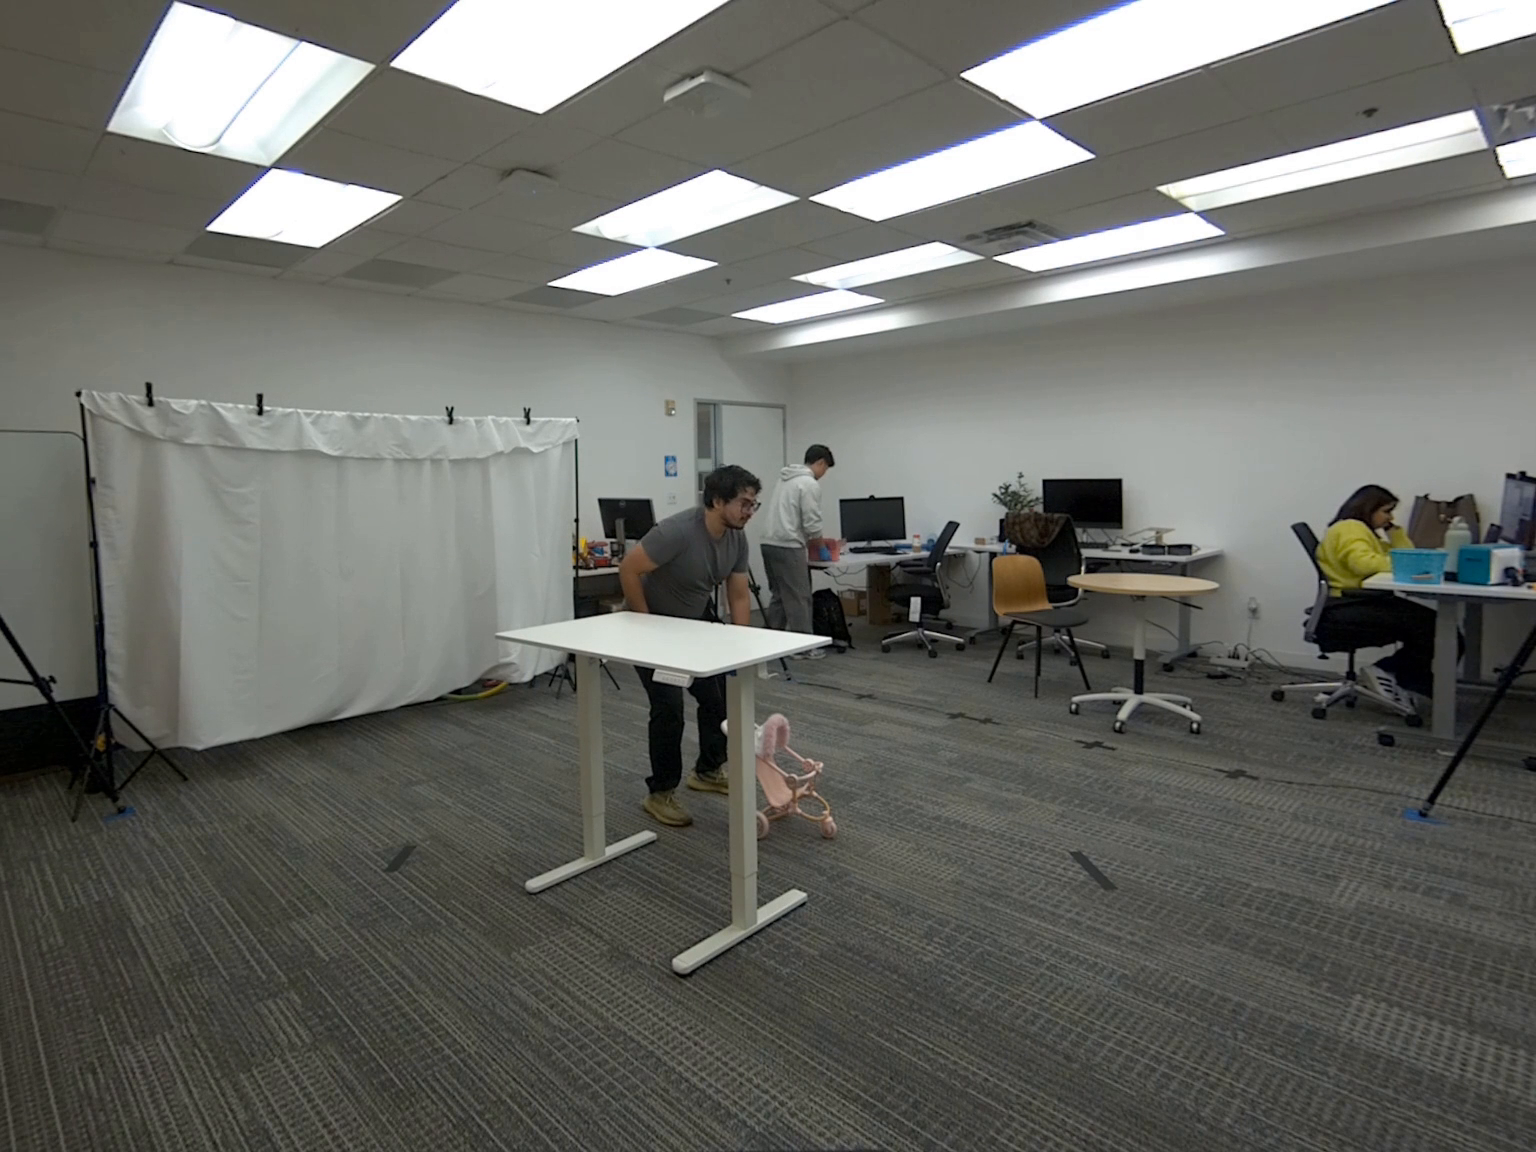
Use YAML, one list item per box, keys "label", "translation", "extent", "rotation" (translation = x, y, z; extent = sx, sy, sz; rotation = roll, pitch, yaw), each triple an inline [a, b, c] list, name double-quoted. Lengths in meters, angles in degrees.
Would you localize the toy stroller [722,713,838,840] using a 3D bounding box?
- label: "toy stroller"
  translation: [0.060, 0.787, 3.385]
  extent: [0.347, 0.537, 0.276]
  rotation: [-18, -4, 29]
